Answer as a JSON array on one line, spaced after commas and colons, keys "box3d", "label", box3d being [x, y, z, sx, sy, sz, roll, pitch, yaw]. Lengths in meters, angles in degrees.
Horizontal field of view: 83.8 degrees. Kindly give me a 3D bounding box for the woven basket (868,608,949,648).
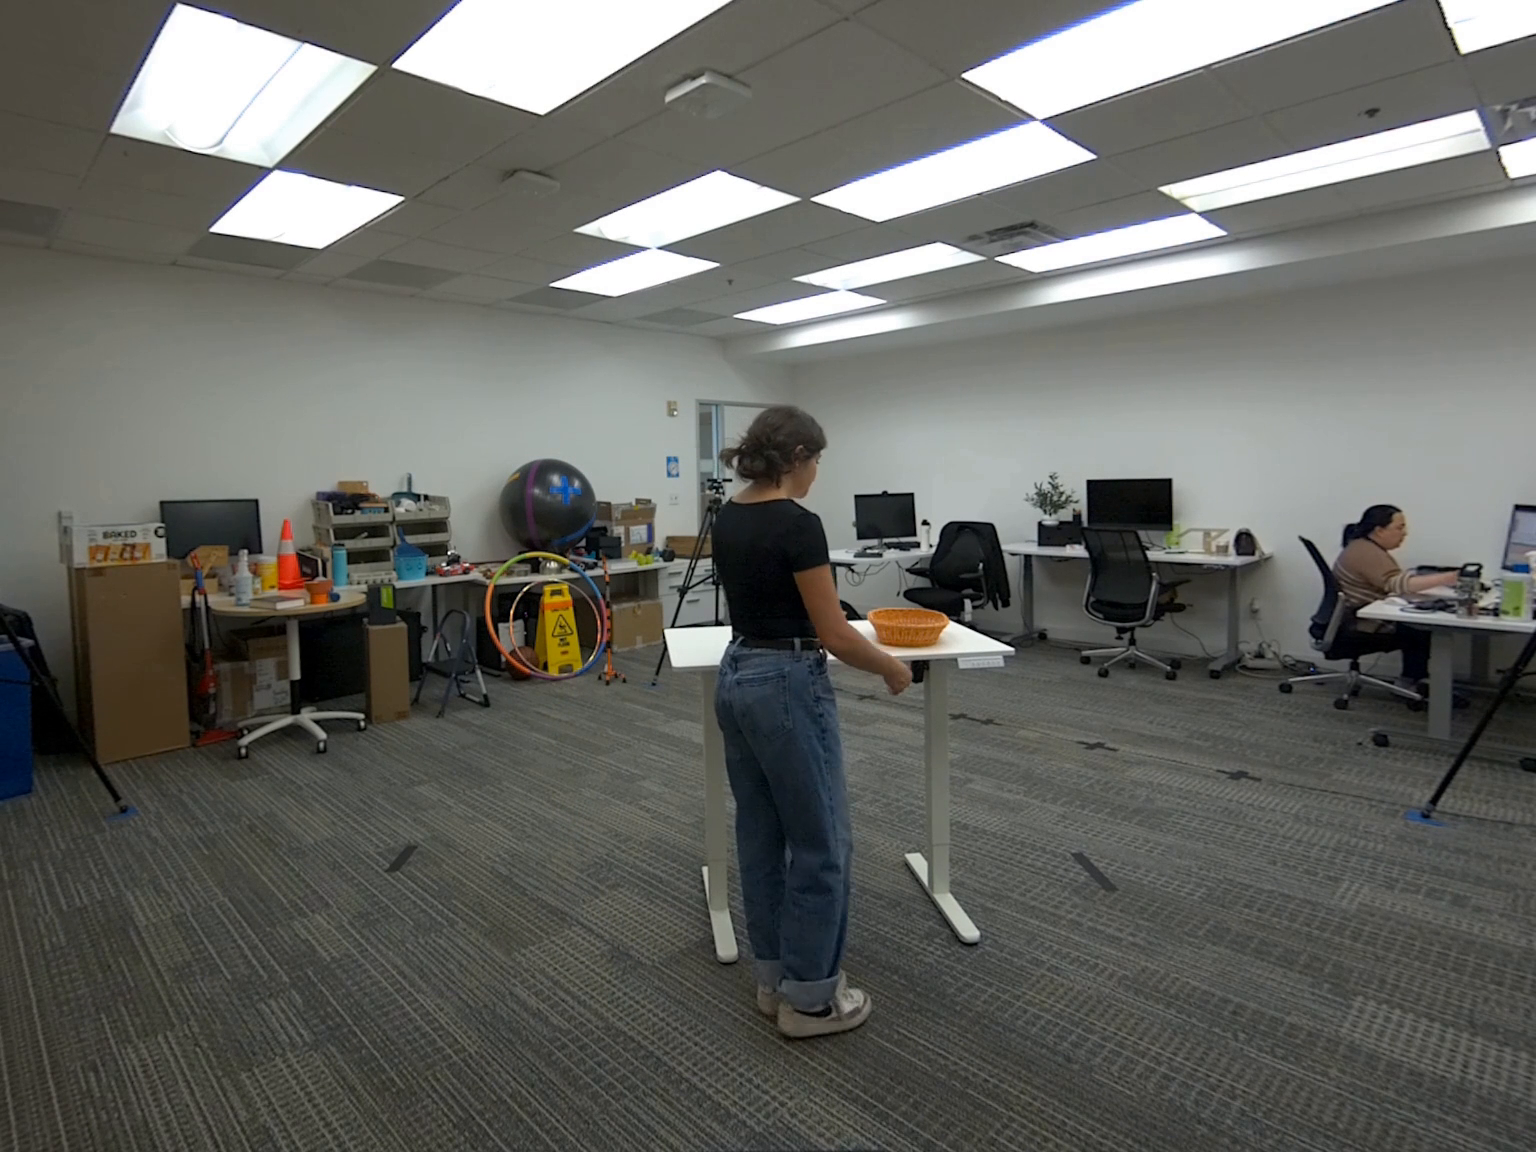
[{"box3d": [0.456, 0.171, 2.685, 0.255, 0.073, 0.349, 1, 7, 9], "label": "woven basket"}]
